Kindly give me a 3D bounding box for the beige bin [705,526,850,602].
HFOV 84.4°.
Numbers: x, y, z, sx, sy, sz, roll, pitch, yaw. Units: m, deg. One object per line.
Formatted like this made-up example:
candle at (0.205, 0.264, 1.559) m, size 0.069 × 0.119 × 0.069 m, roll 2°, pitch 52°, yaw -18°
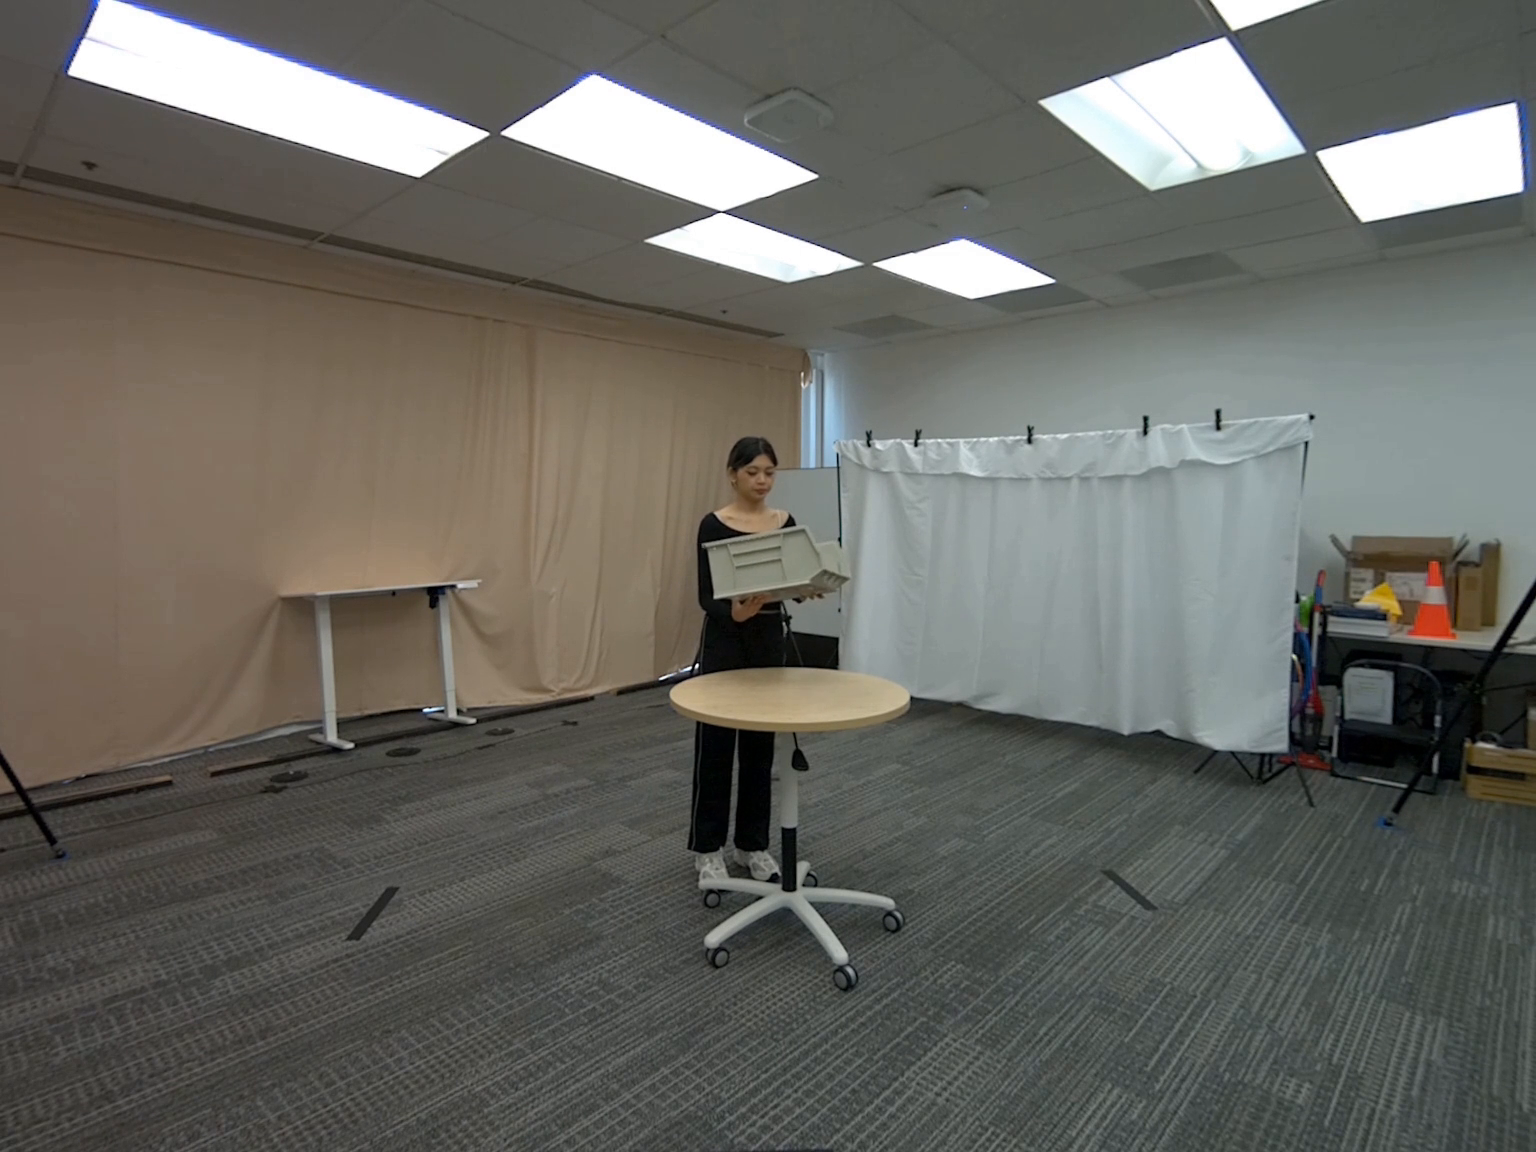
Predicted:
beige bin at (0.048, -0.022, 2.792) m, size 0.384 × 0.190 × 0.412 m, roll -10°, pitch -8°, yaw 18°
